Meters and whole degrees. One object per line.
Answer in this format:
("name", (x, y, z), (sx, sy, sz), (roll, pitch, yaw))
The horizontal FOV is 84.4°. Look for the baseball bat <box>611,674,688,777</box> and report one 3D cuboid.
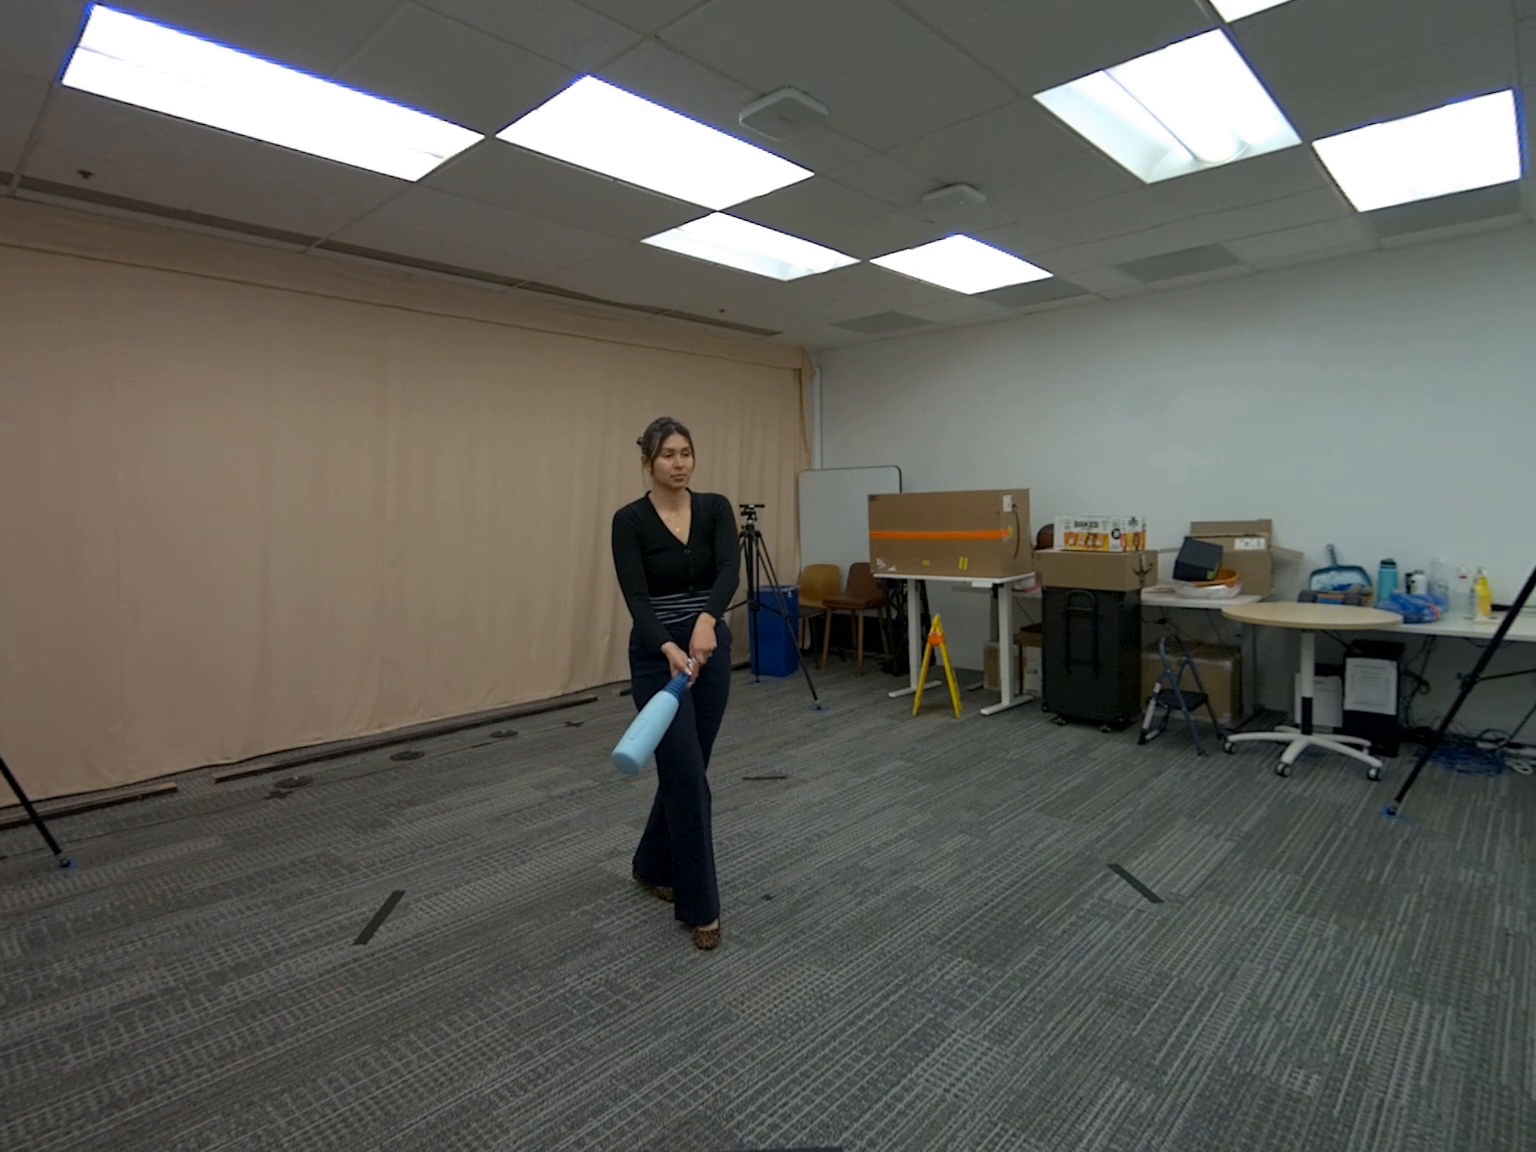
("baseball bat", (-0.270, 0.343, 2.362), (0.091, 0.087, 0.543), (0, 35, 22))
